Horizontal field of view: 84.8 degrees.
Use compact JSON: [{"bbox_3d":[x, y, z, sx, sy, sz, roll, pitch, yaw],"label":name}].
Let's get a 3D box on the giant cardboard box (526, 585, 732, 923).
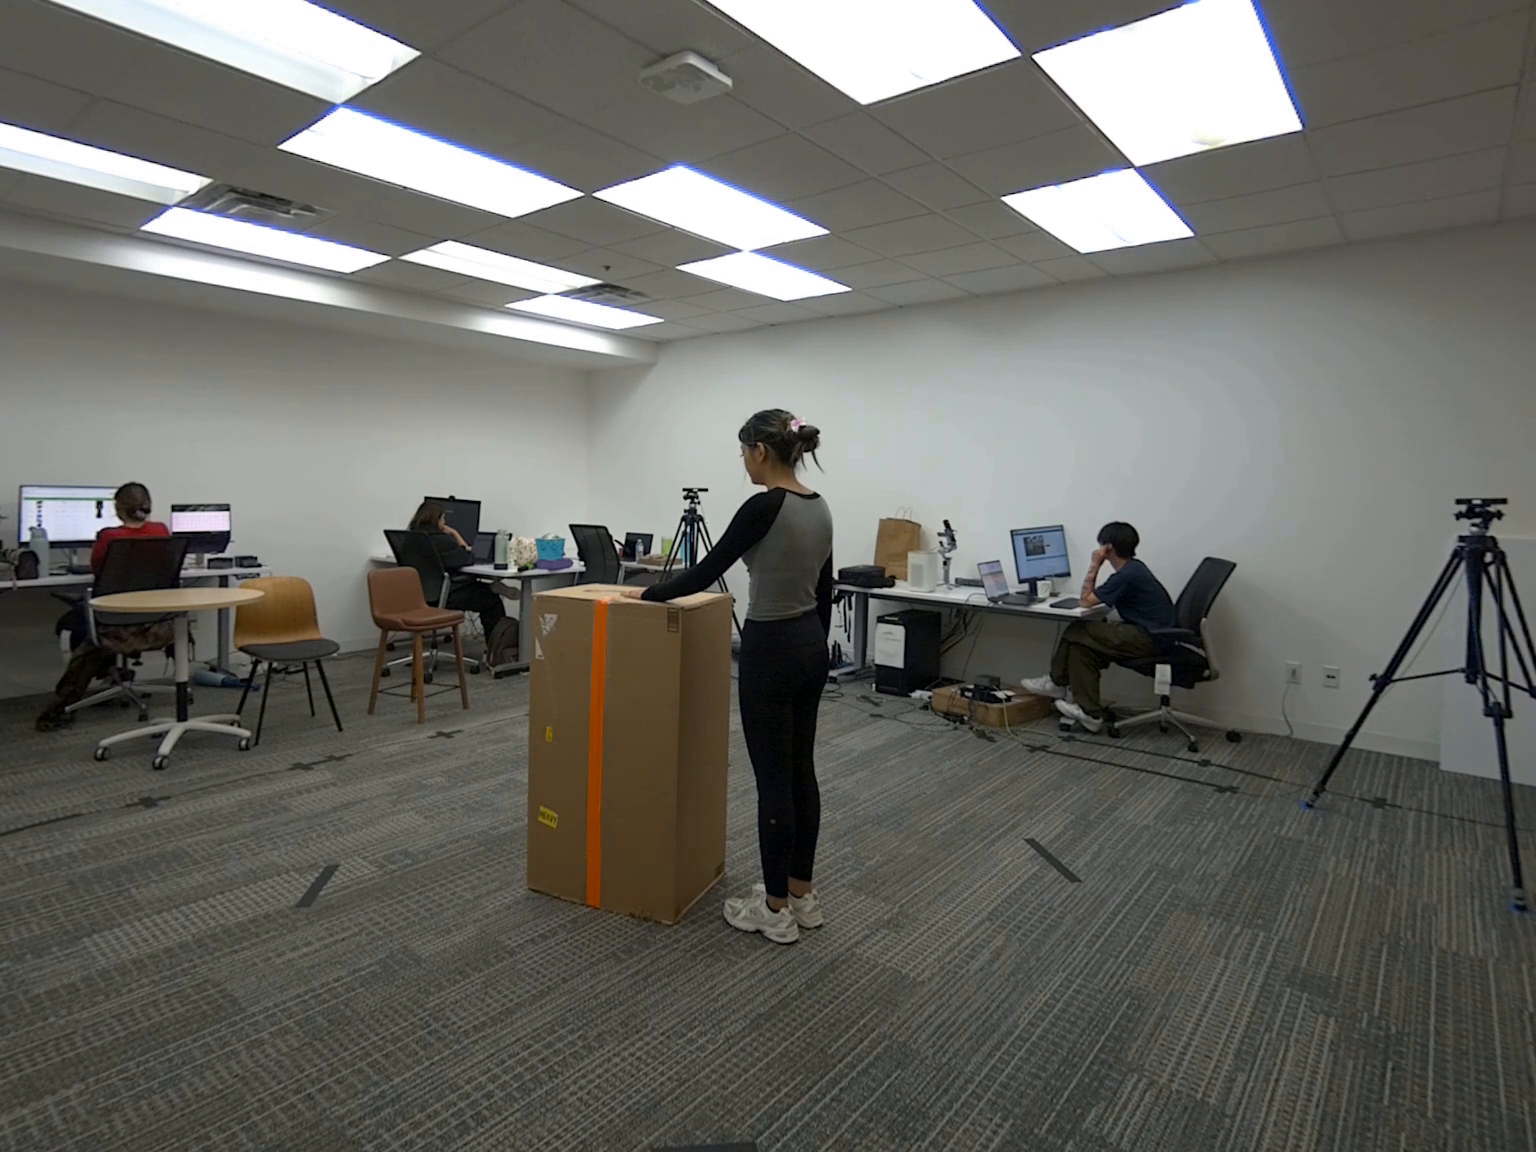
[{"bbox_3d":[-0.495,0.572,2.979,0.598,1.025,0.437,3,3,22],"label":"giant cardboard box"}]
